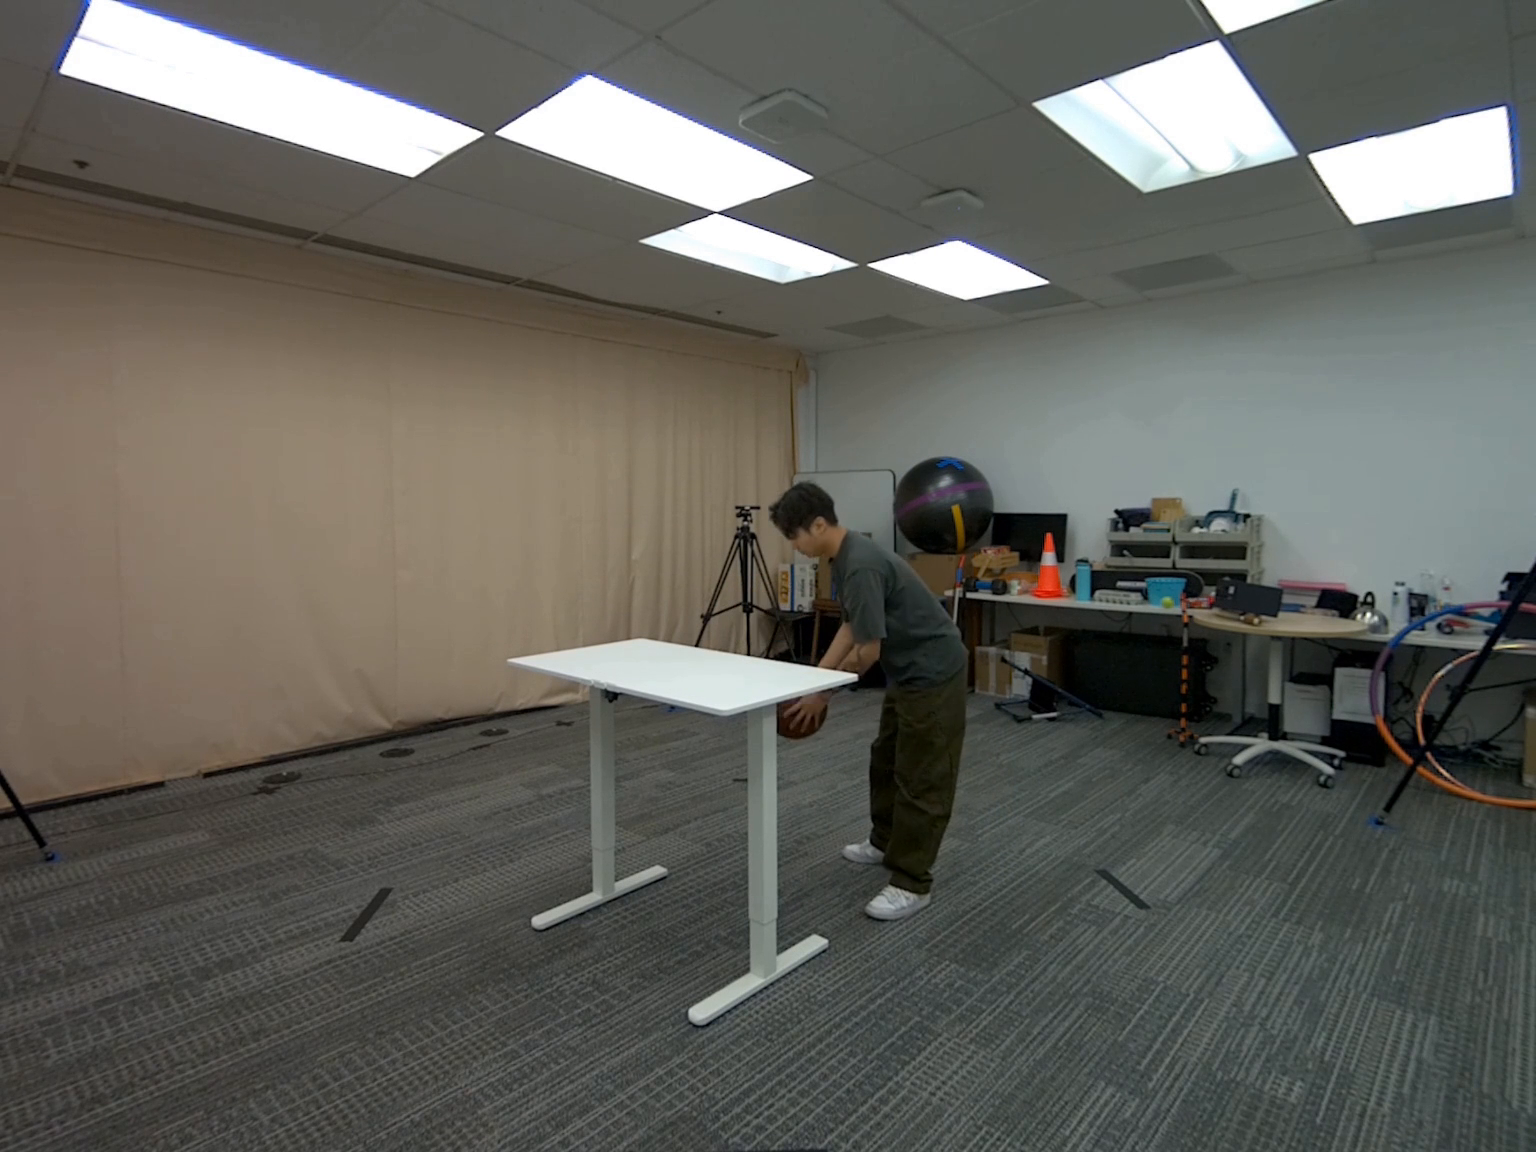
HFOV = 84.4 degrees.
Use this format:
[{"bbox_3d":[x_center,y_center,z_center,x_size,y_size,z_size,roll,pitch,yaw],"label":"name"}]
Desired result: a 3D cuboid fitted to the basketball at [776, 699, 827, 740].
[{"bbox_3d":[0.103,0.473,3.064,0.236,0.235,0.237,0,4,-2],"label":"basketball"}]
